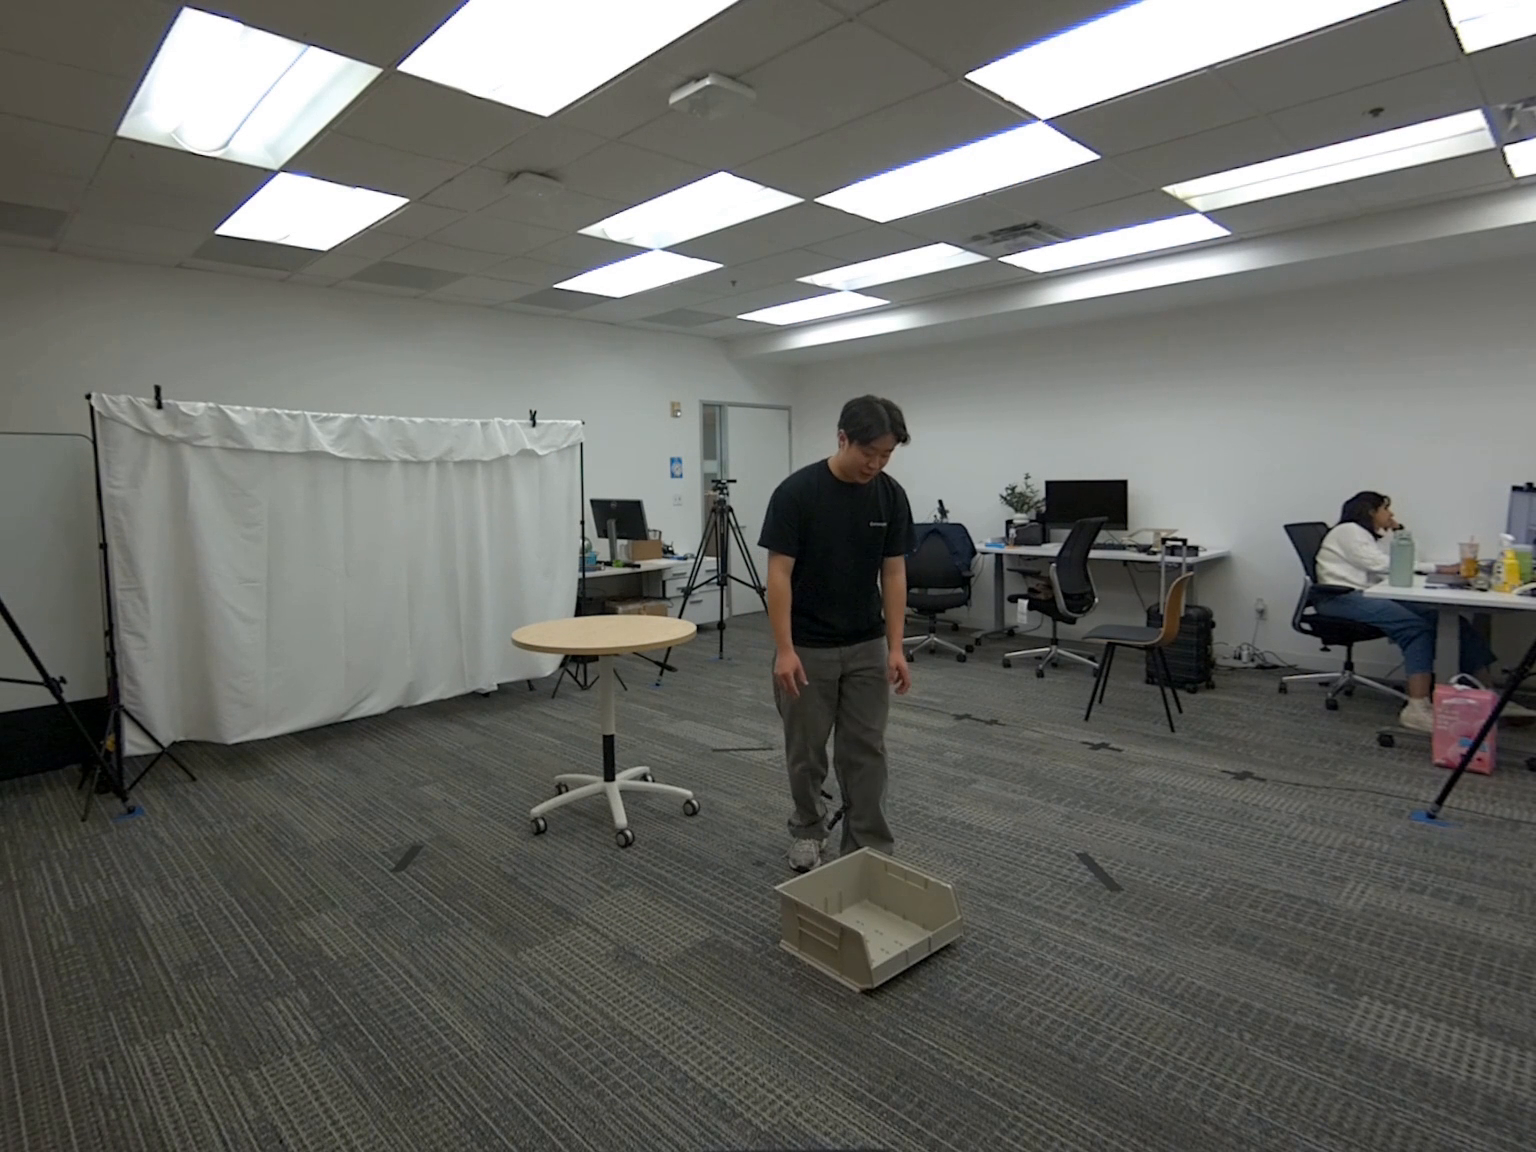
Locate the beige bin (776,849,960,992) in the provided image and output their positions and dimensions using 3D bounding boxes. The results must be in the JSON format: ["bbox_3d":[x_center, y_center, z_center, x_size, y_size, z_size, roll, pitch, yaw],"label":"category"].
[{"bbox_3d":[0.301,1.020,2.544,0.411,0.188,0.389,-7,7,-41],"label":"beige bin"}]
